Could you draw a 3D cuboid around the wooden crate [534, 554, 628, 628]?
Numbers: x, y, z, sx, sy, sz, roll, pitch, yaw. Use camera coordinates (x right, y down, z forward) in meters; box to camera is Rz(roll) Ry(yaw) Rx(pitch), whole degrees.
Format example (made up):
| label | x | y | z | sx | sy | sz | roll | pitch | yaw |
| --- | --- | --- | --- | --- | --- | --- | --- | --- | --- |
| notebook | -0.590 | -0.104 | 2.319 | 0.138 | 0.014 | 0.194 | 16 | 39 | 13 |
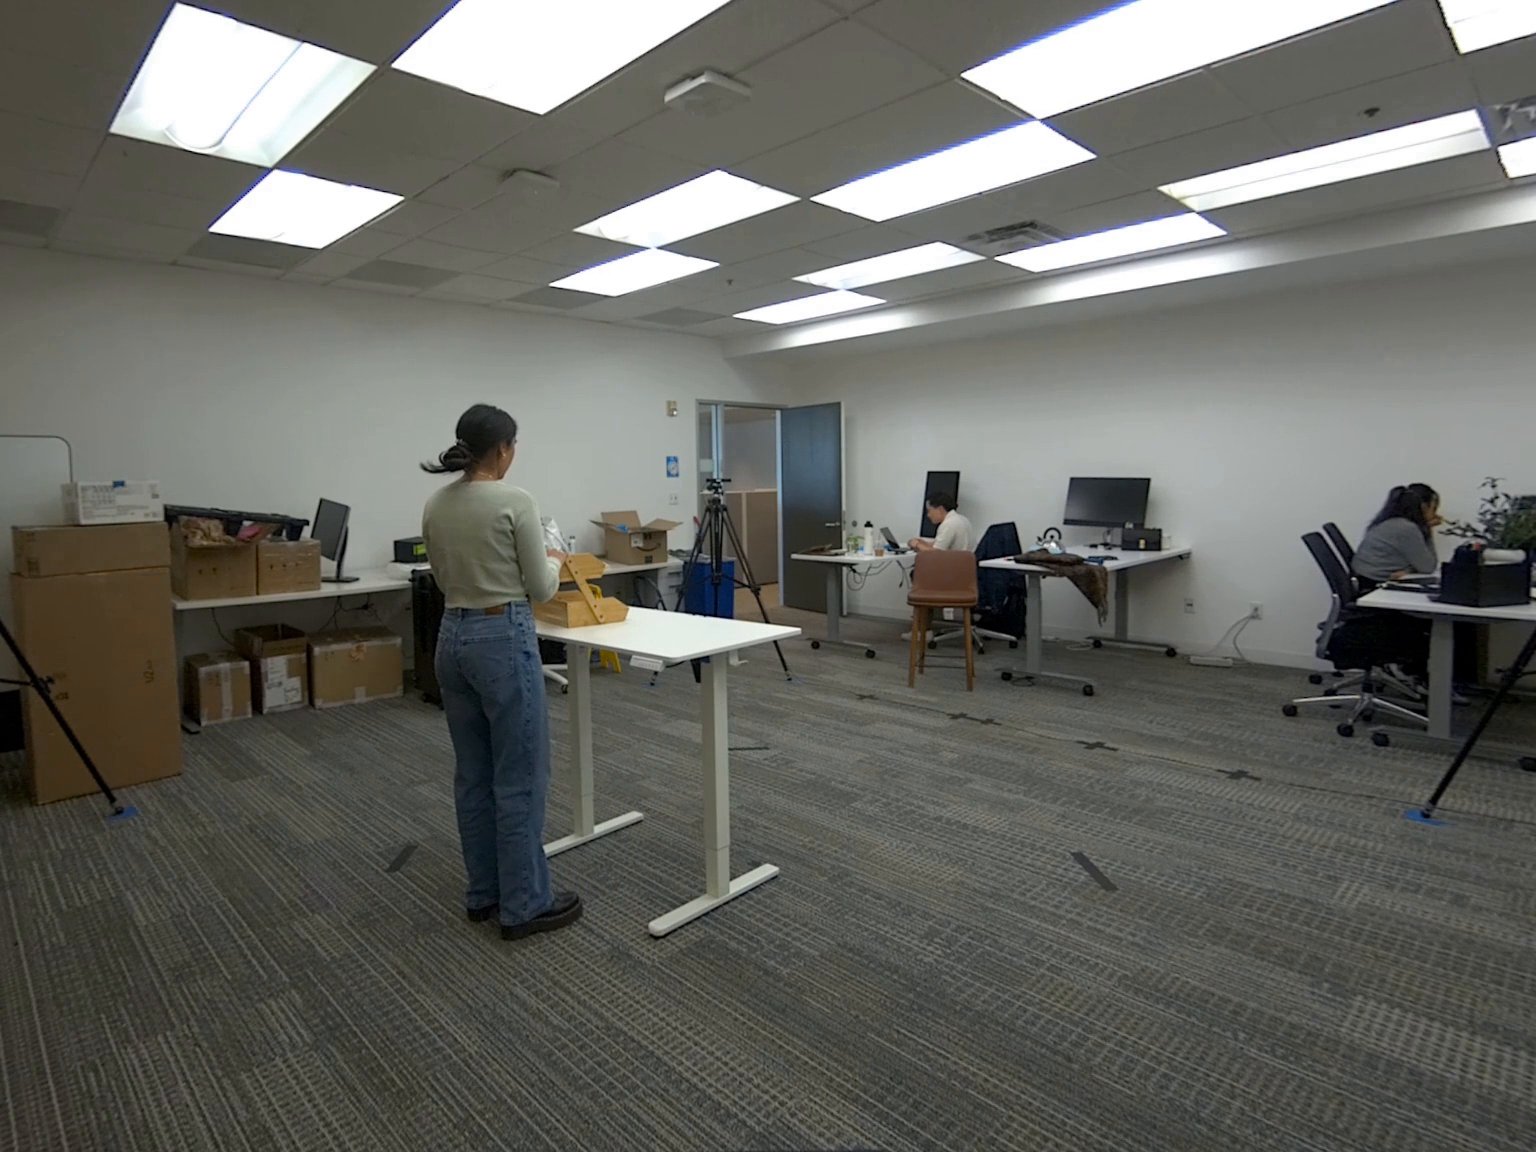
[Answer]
| label | x | y | z | sx | sy | sz | roll | pitch | yaw |
| --- | --- | --- | --- | --- | --- | --- | --- | --- | --- |
| wooden crate | -0.725 | 0.035 | 3.190 | 0.294 | 0.272 | 0.334 | -6 | 6 | -37 |
